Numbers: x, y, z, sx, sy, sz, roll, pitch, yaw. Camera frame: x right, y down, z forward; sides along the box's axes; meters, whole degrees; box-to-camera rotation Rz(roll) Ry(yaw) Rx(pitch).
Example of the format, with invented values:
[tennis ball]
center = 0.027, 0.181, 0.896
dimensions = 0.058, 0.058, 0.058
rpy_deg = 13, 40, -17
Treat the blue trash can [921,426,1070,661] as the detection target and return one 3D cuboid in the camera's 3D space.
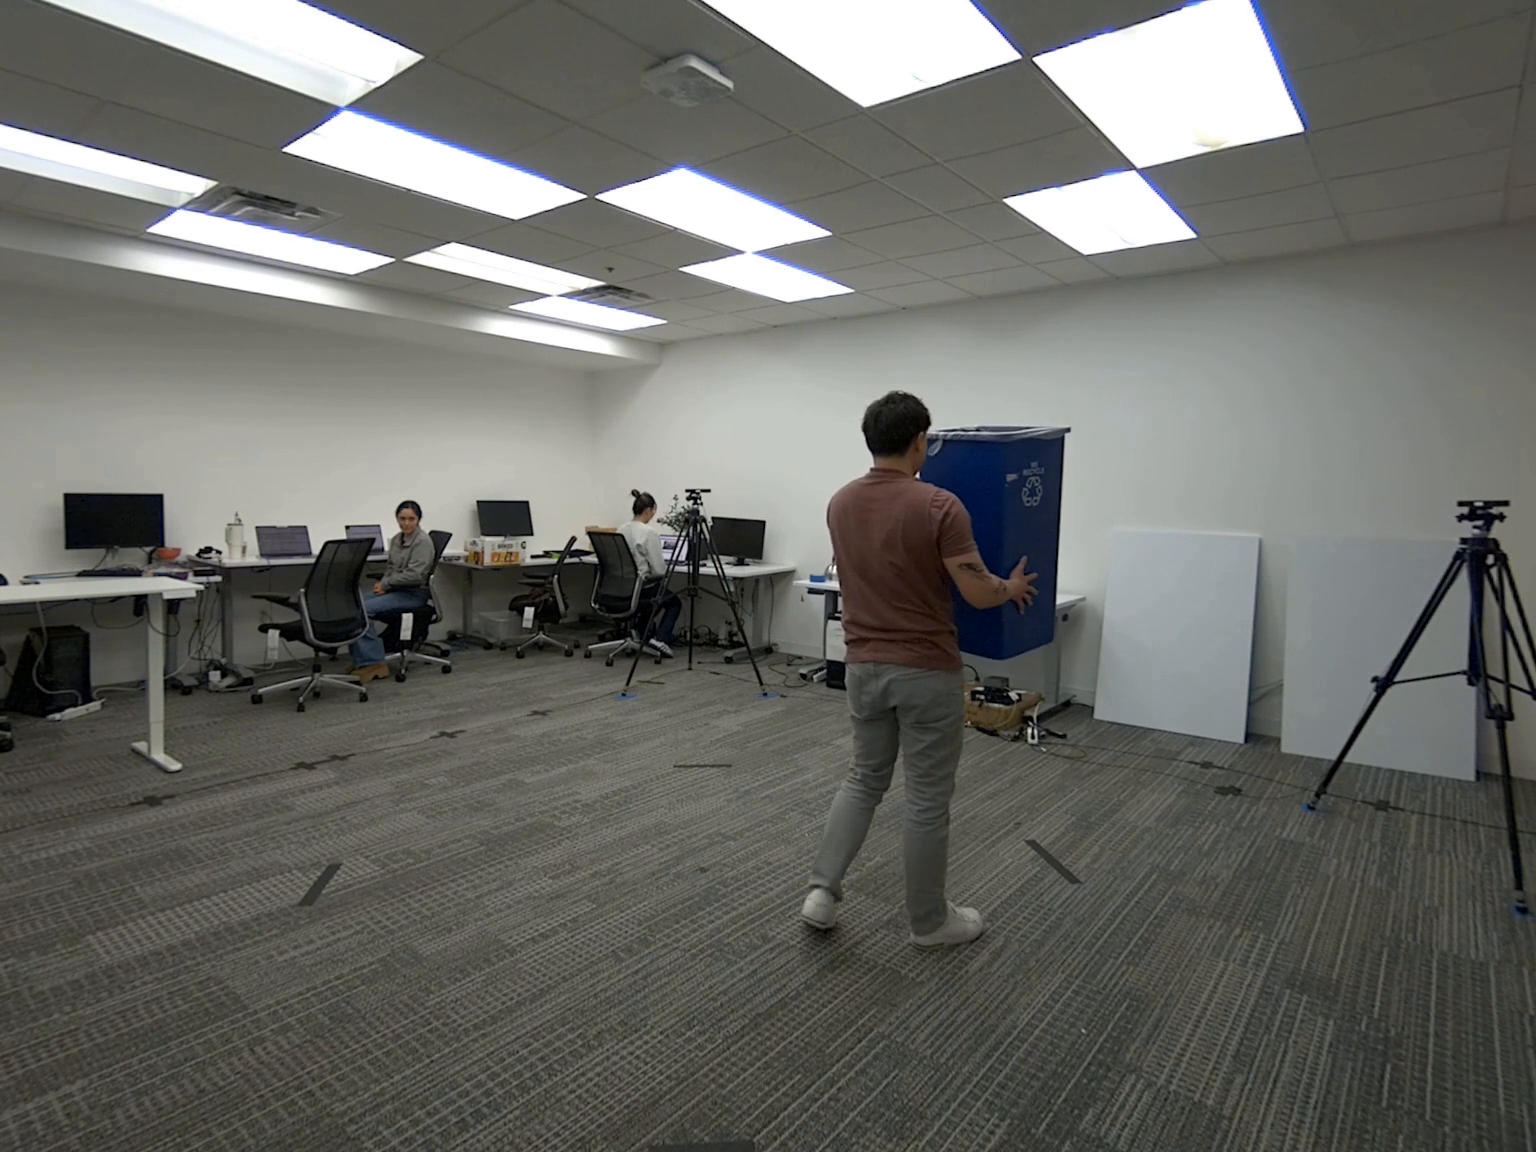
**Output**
[blue trash can]
center = 0.718, -0.133, 2.805
dimensions = 0.365, 0.706, 0.392
rpy_deg = -11, 13, -37
